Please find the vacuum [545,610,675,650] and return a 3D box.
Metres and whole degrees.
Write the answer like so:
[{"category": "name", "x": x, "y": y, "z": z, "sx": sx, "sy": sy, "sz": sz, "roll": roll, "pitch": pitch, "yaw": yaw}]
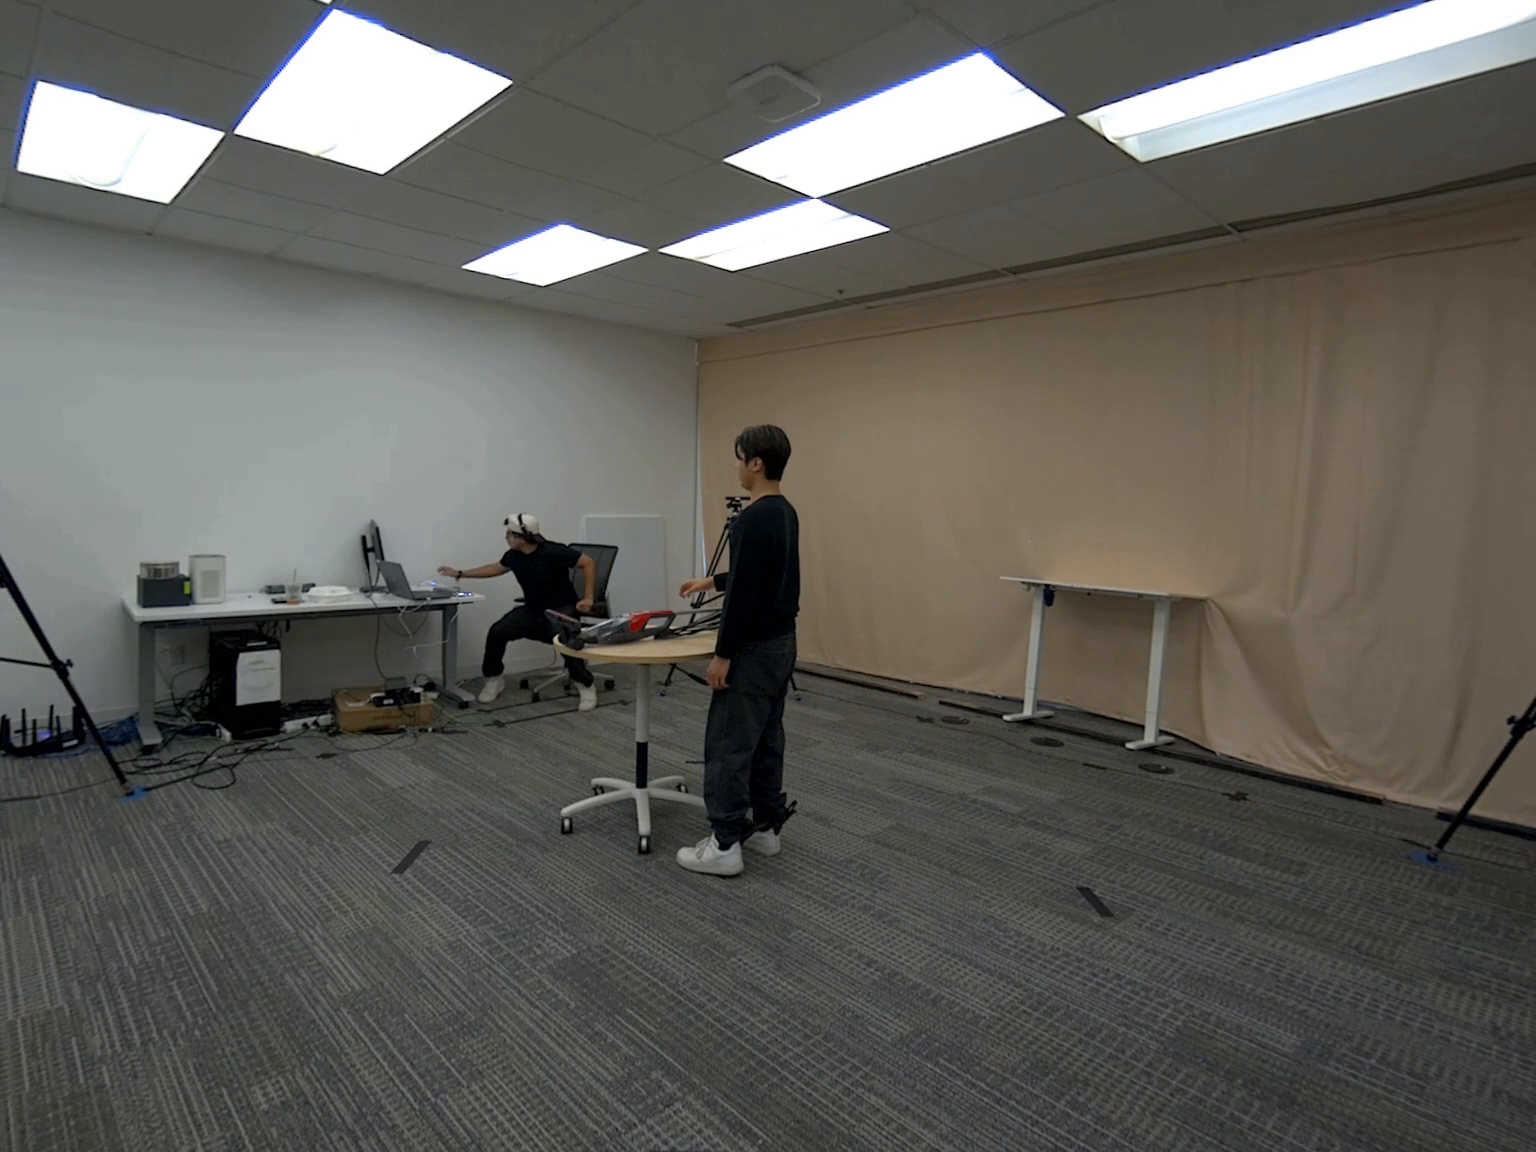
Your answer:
[{"category": "vacuum", "x": -0.426, "y": 0.212, "z": 3.650, "sx": 1.025, "sy": 0.143, "sz": 0.259, "roll": -3, "pitch": 10, "yaw": -41}]
